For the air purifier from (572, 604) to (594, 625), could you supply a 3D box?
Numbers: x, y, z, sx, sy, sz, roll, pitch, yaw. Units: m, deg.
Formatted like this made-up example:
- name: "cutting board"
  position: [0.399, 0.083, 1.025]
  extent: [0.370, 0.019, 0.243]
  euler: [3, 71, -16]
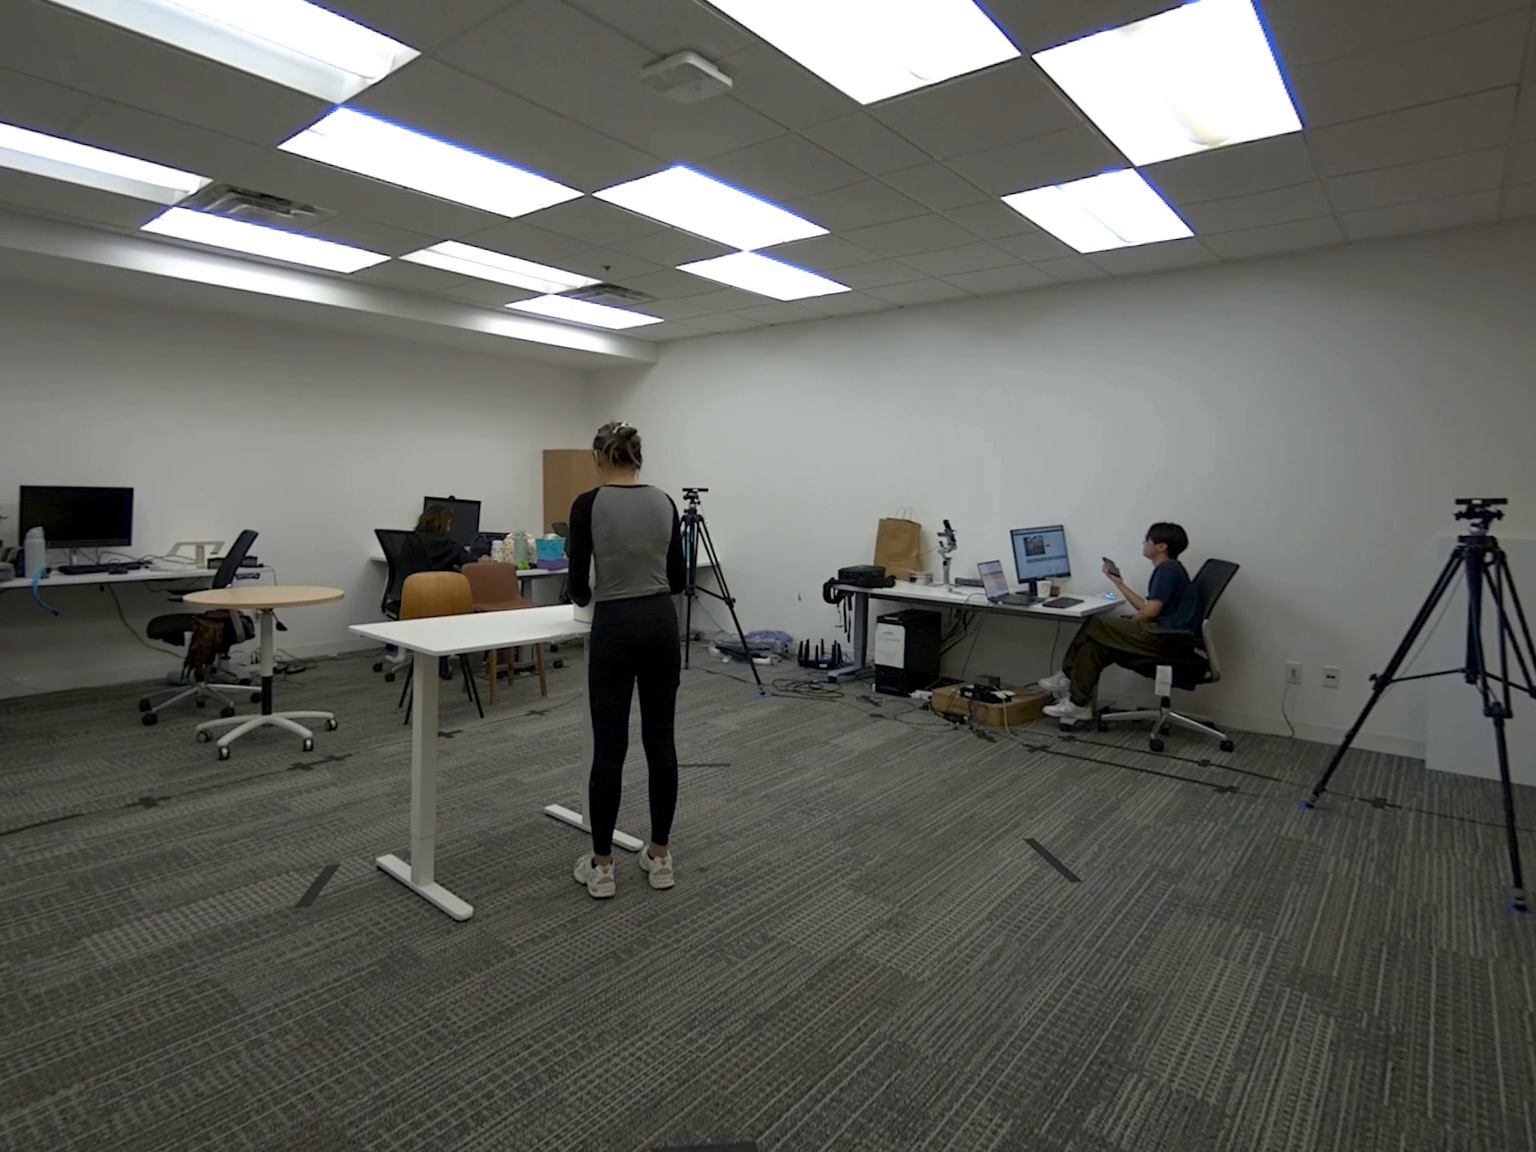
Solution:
- name: "air purifier"
  position: [-0.655, 0.035, 3.263]
  extent: [0.166, 0.265, 0.177]
  euler: [2, 4, -38]
